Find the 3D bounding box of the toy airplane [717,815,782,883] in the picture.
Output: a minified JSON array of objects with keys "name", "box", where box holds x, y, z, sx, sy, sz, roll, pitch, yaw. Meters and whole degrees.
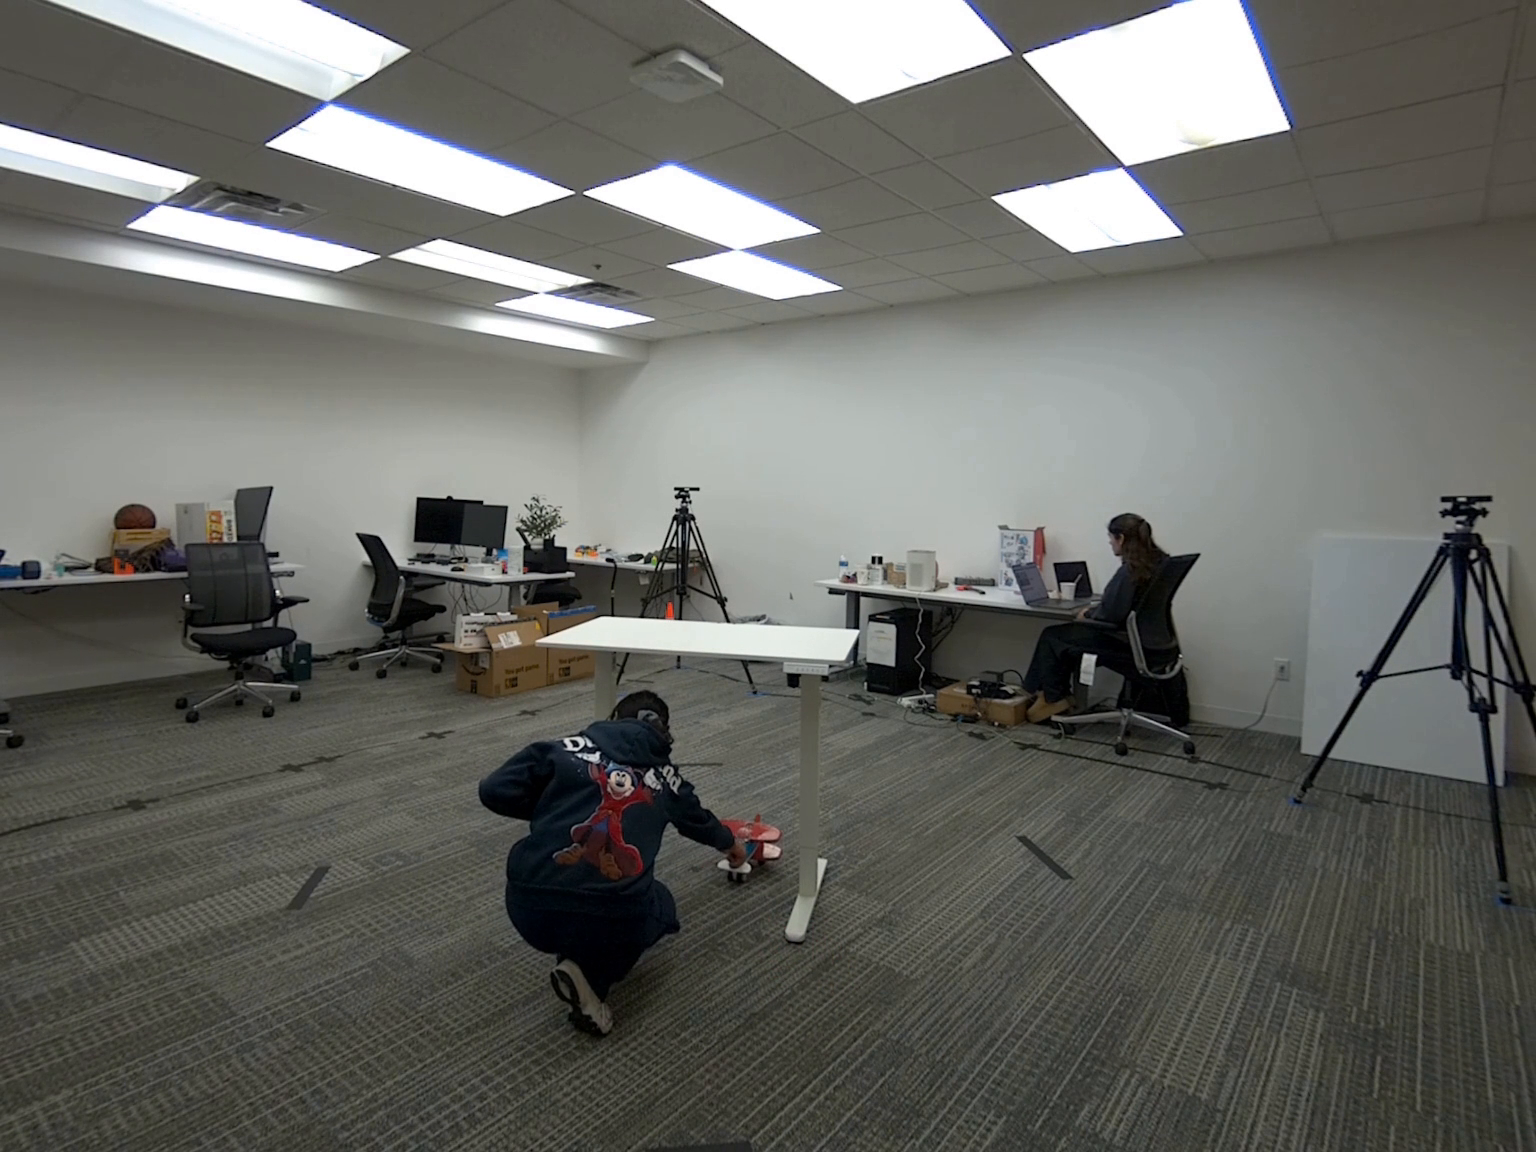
[{"name":"toy airplane","box":[-0.070,0.997,3.088,0.249,0.156,0.262,-1,3,-10]}]
